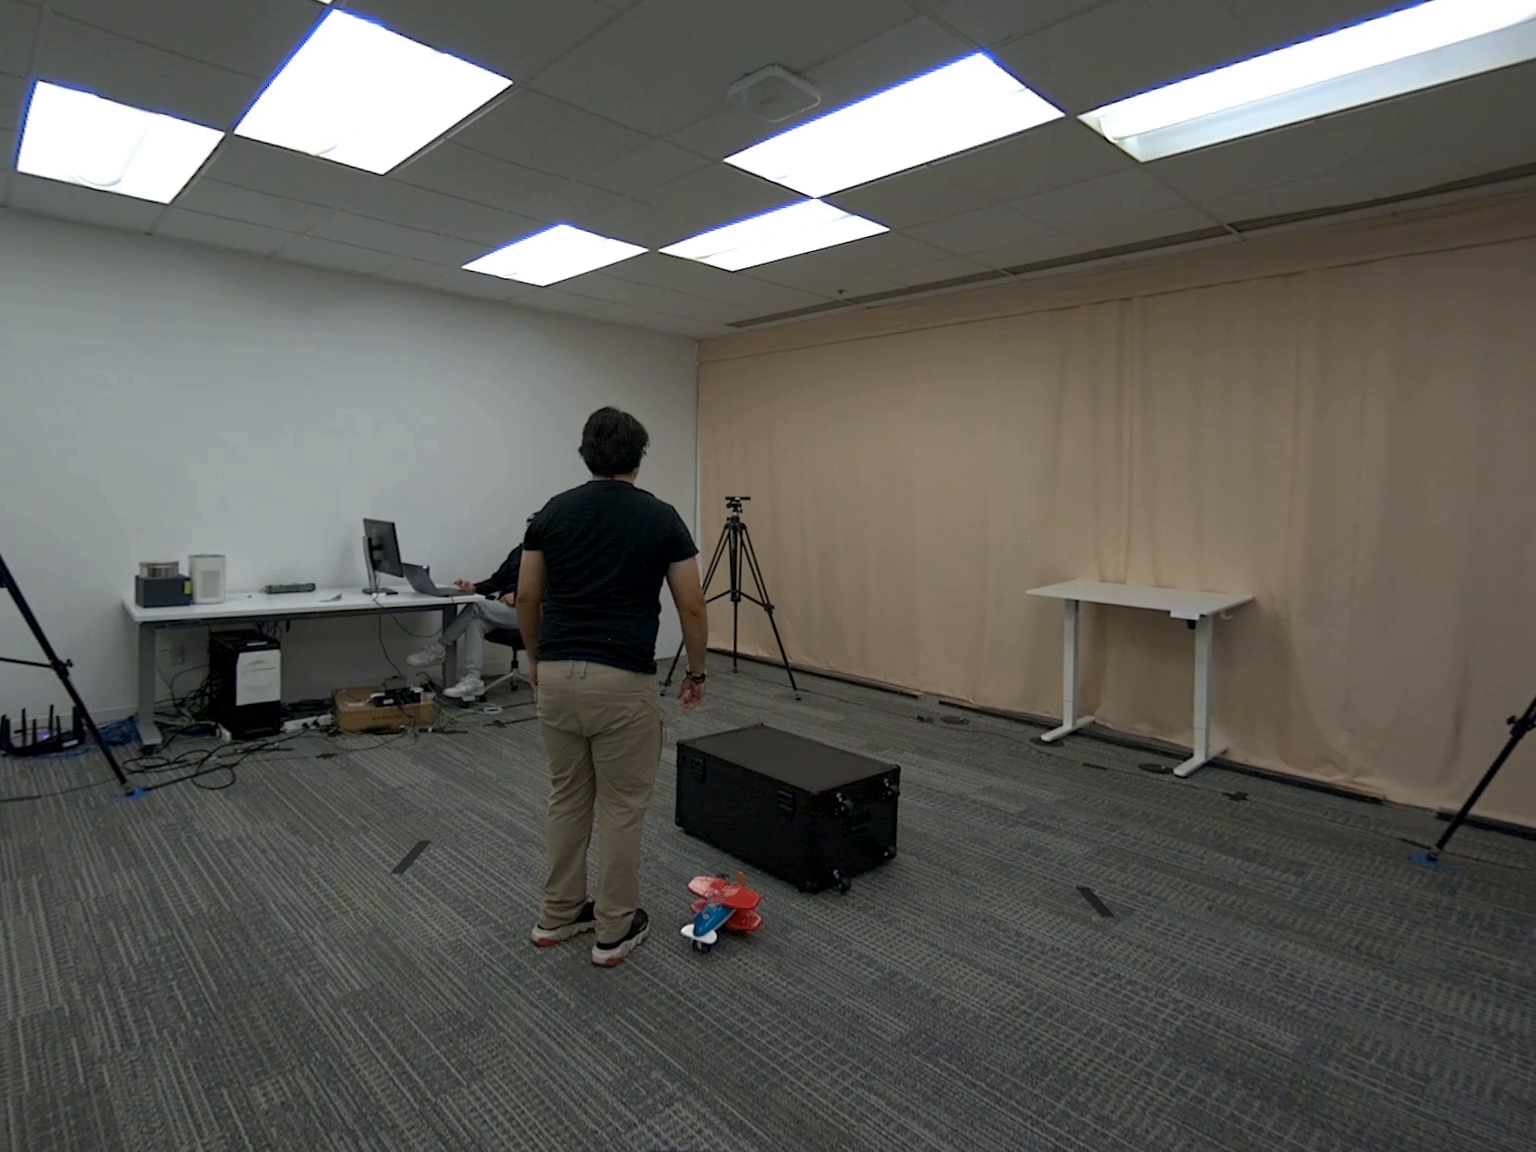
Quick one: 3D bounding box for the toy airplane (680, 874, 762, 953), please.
[{"bbox_3d":[-0.150,1.075,2.653,0.252,0.156,0.259,2,3,2],"label":"toy airplane"}]
